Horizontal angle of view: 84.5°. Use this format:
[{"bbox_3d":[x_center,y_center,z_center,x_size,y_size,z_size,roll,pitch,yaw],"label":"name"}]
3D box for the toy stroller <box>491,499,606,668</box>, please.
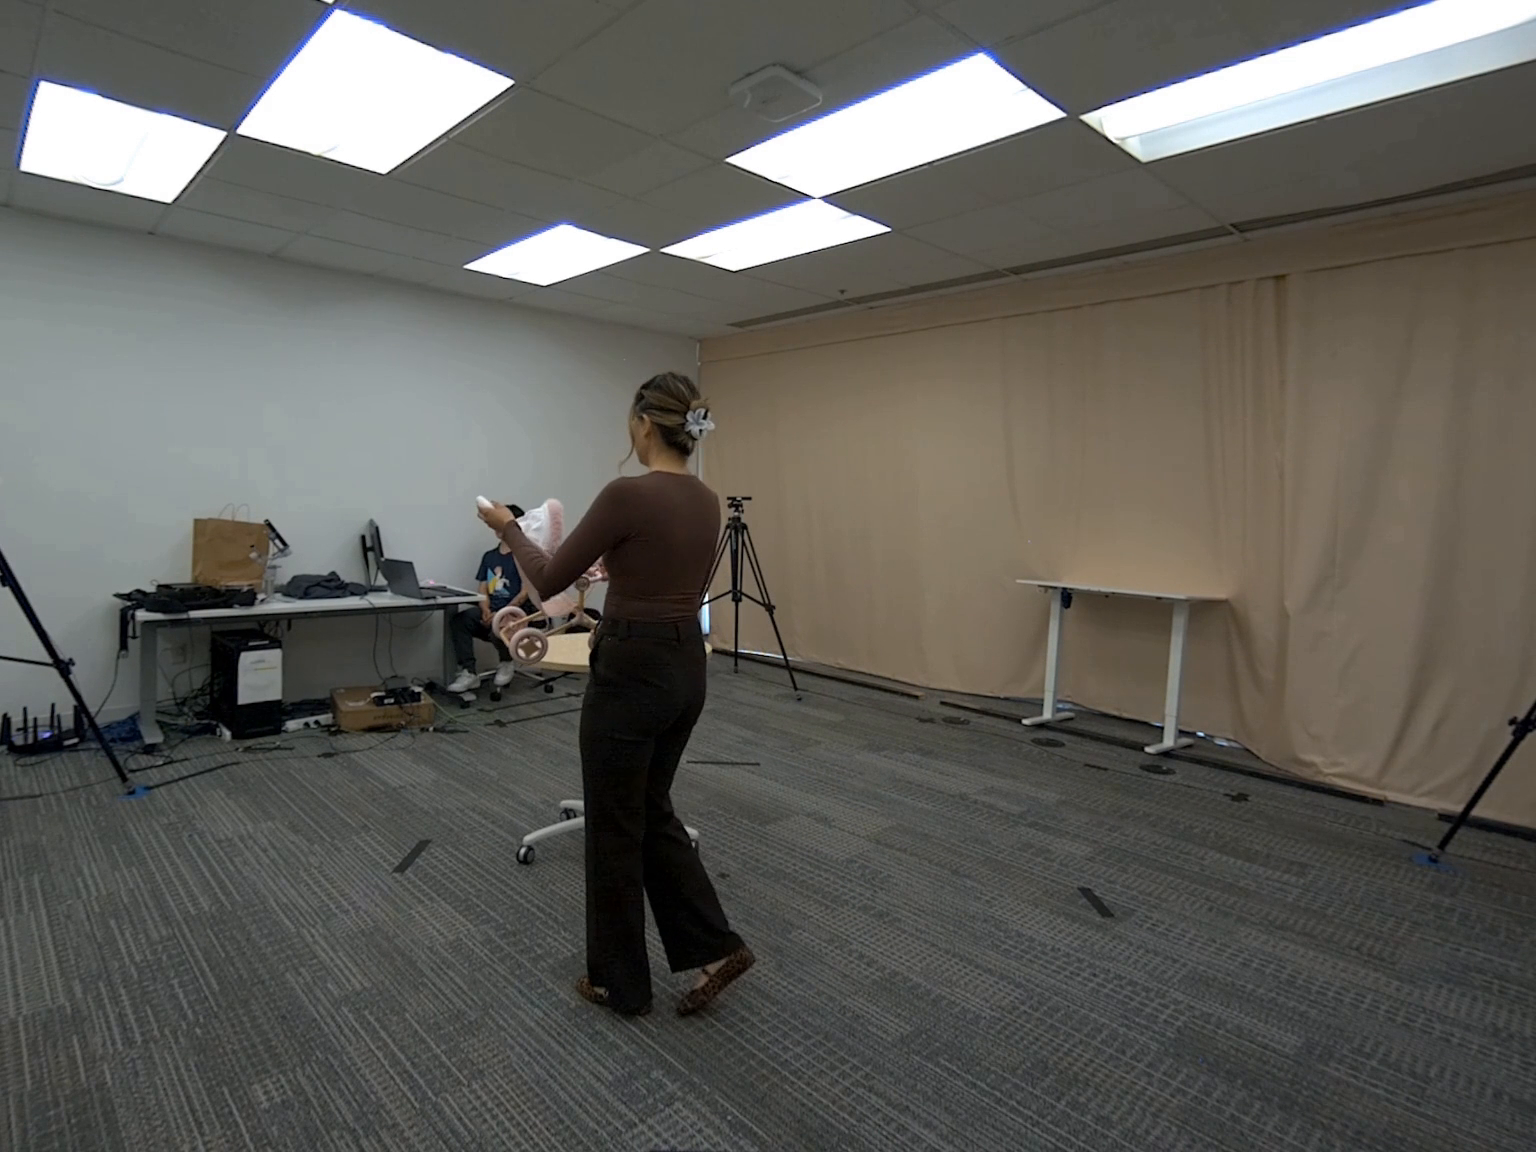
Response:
[{"bbox_3d":[-0.659,0.013,2.534,0.337,0.529,0.288,-9,14,-21],"label":"toy stroller"}]
